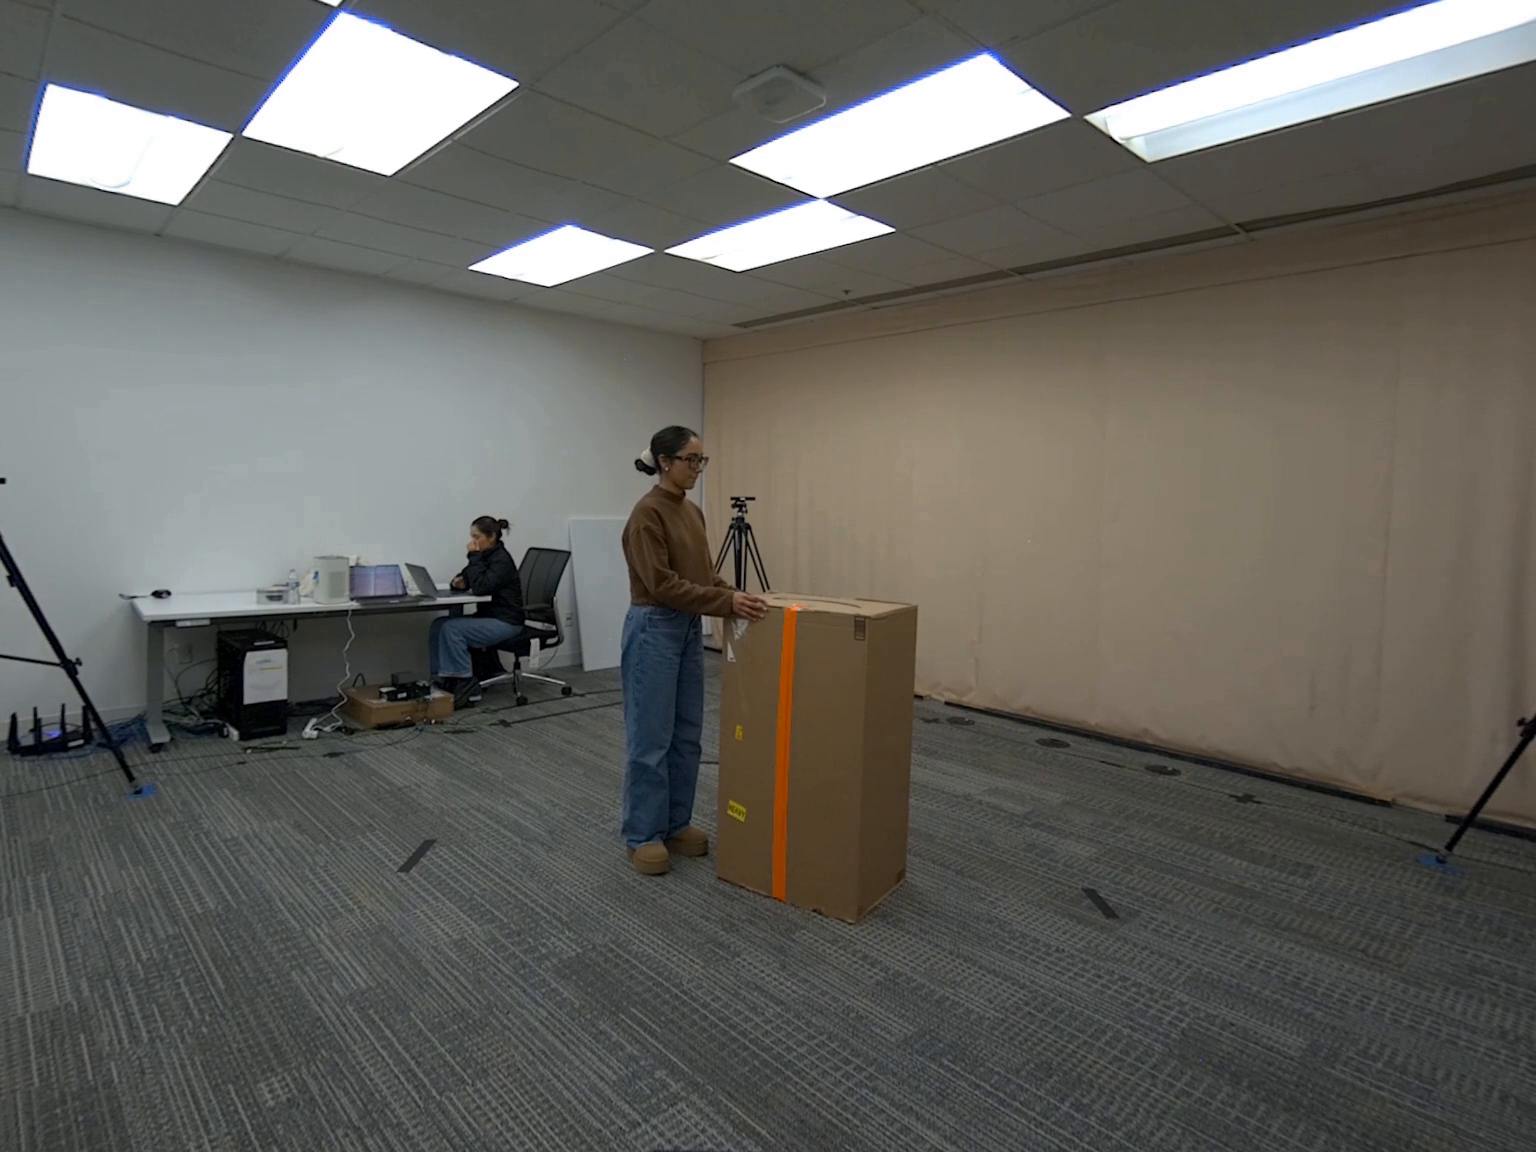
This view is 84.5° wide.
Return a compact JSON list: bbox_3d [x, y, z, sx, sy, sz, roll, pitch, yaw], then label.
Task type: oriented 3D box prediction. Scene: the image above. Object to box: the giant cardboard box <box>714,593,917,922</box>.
[{"bbox_3d":[0.172,0.608,3.066,0.591,1.024,0.417,3,3,35],"label":"giant cardboard box"}]
